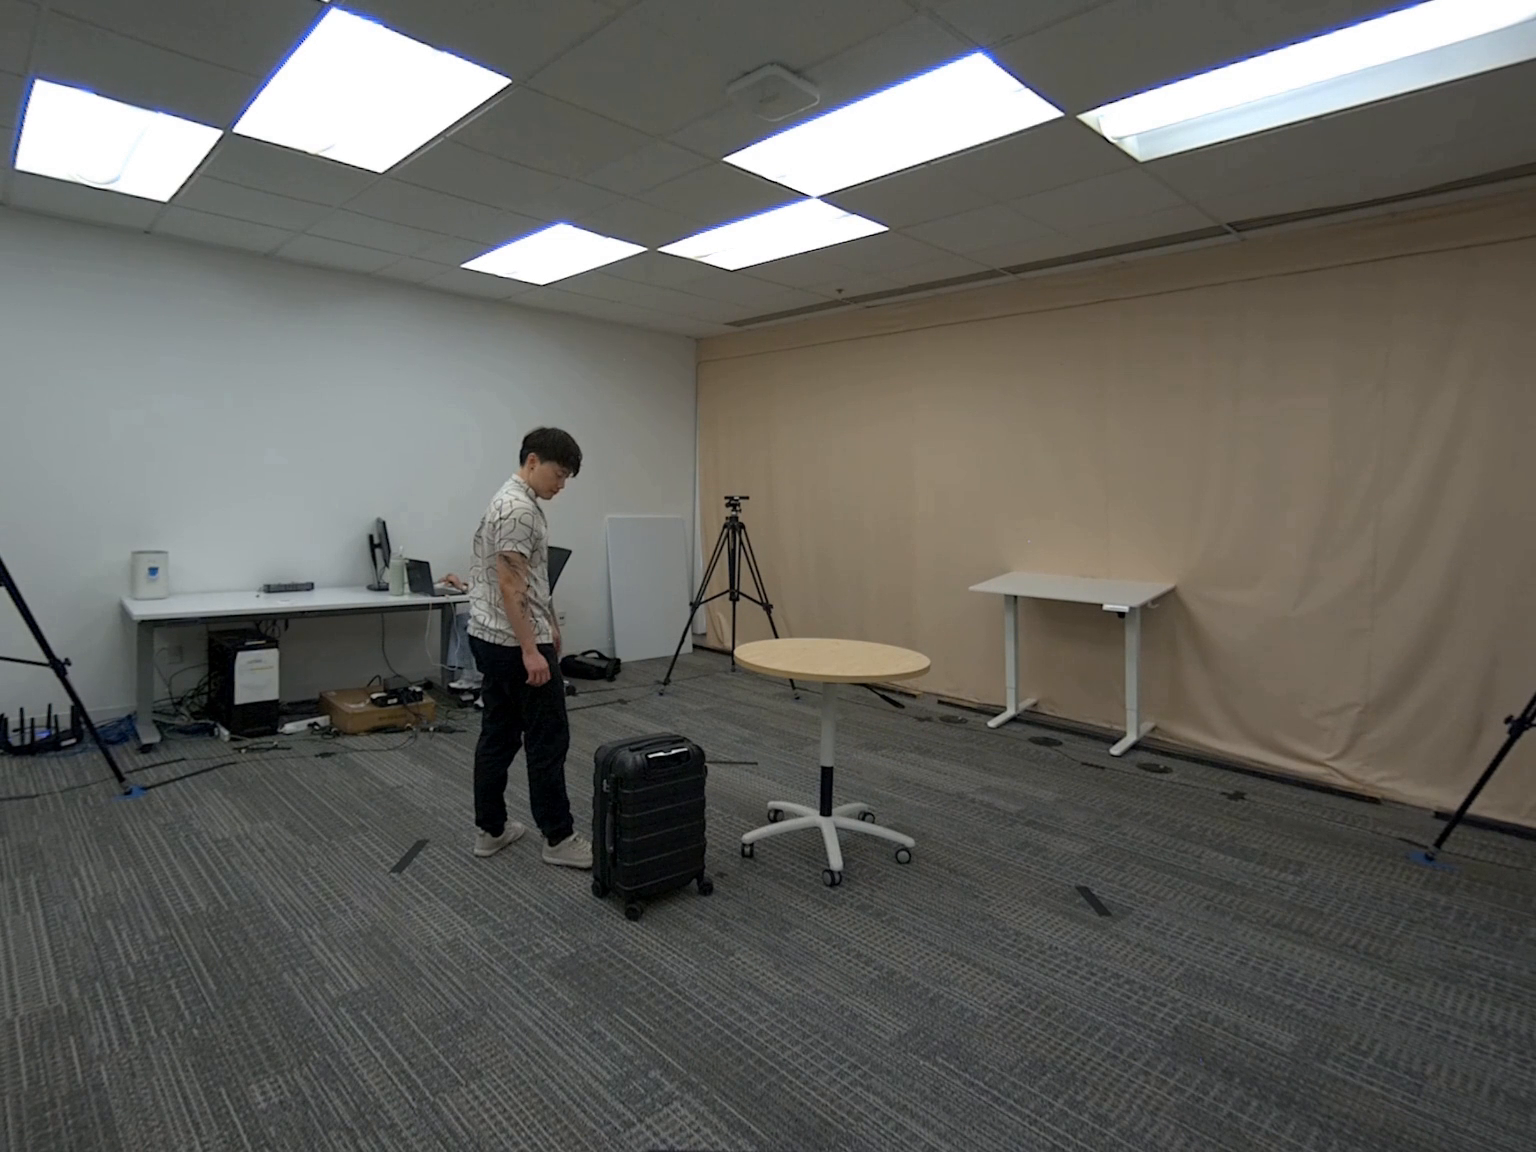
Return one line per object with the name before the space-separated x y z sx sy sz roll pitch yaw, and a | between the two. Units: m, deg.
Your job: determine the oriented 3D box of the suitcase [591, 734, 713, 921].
suitcase | -0.421 0.837 2.927 0.367 0.548 0.254 -3 3 -39
